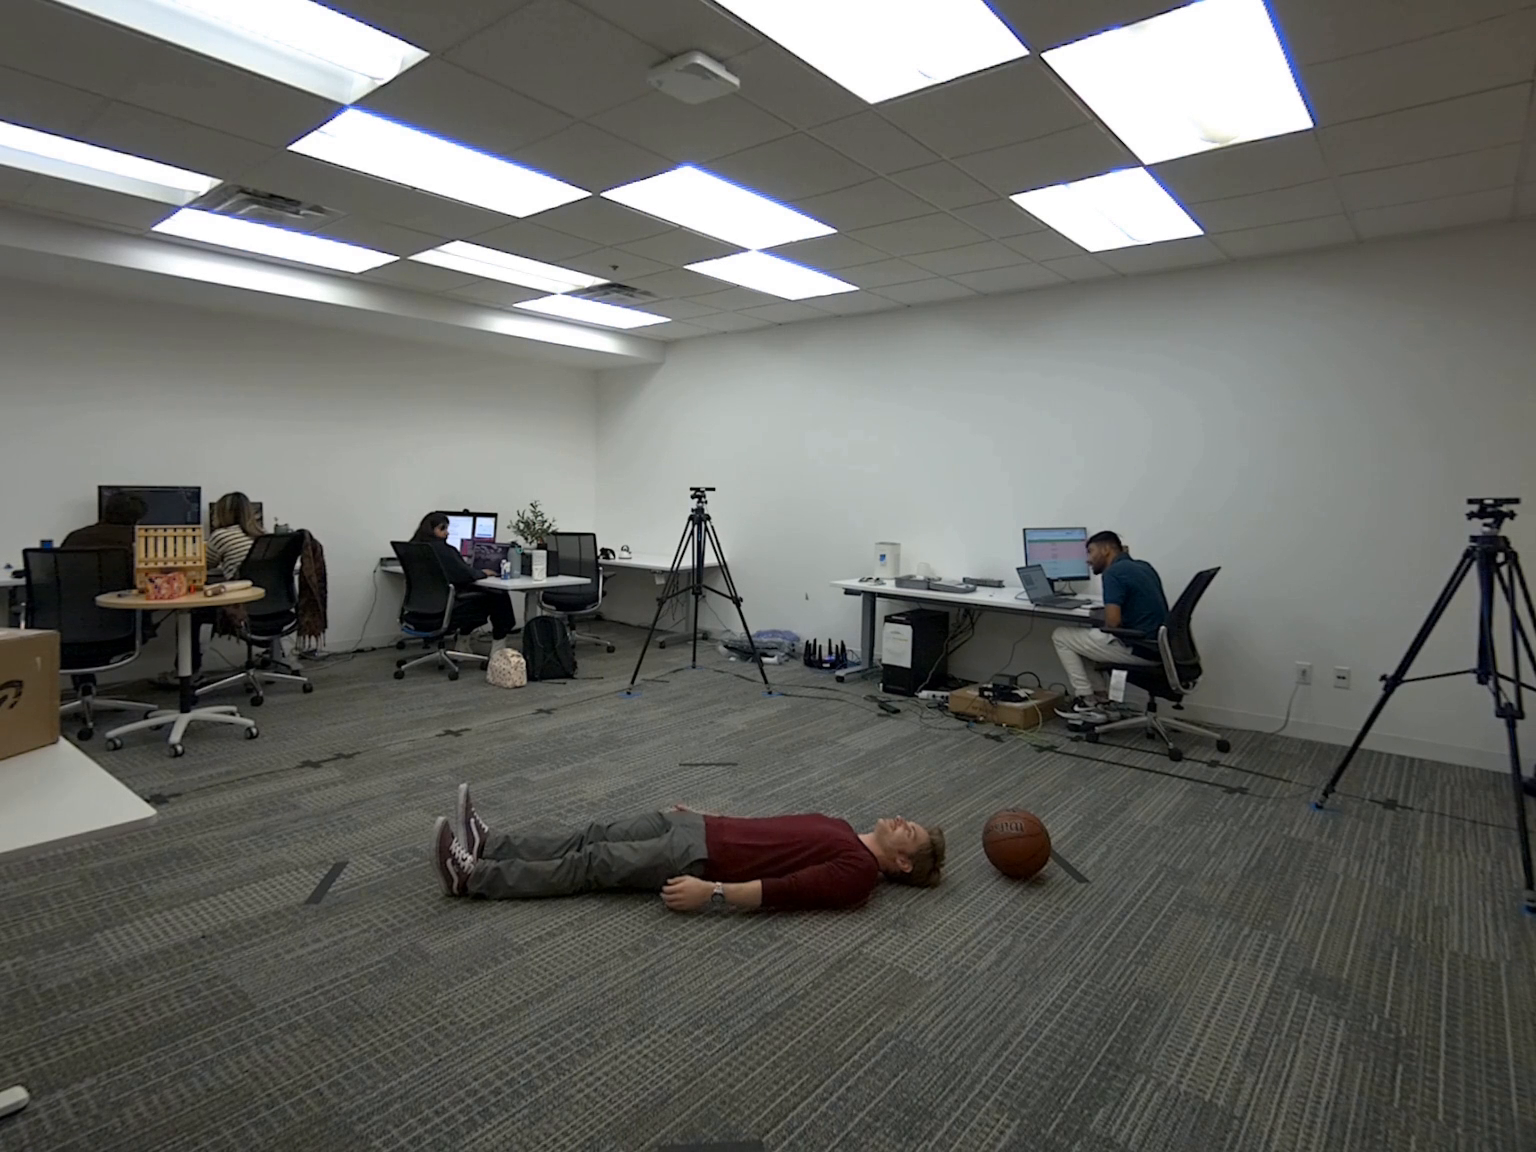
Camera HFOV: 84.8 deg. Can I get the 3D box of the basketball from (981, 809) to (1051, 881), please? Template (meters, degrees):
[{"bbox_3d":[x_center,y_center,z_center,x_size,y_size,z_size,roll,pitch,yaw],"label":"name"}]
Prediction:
[{"bbox_3d":[0.907,0.973,3.123,0.235,0.235,0.237,1,4,-2],"label":"basketball"}]
